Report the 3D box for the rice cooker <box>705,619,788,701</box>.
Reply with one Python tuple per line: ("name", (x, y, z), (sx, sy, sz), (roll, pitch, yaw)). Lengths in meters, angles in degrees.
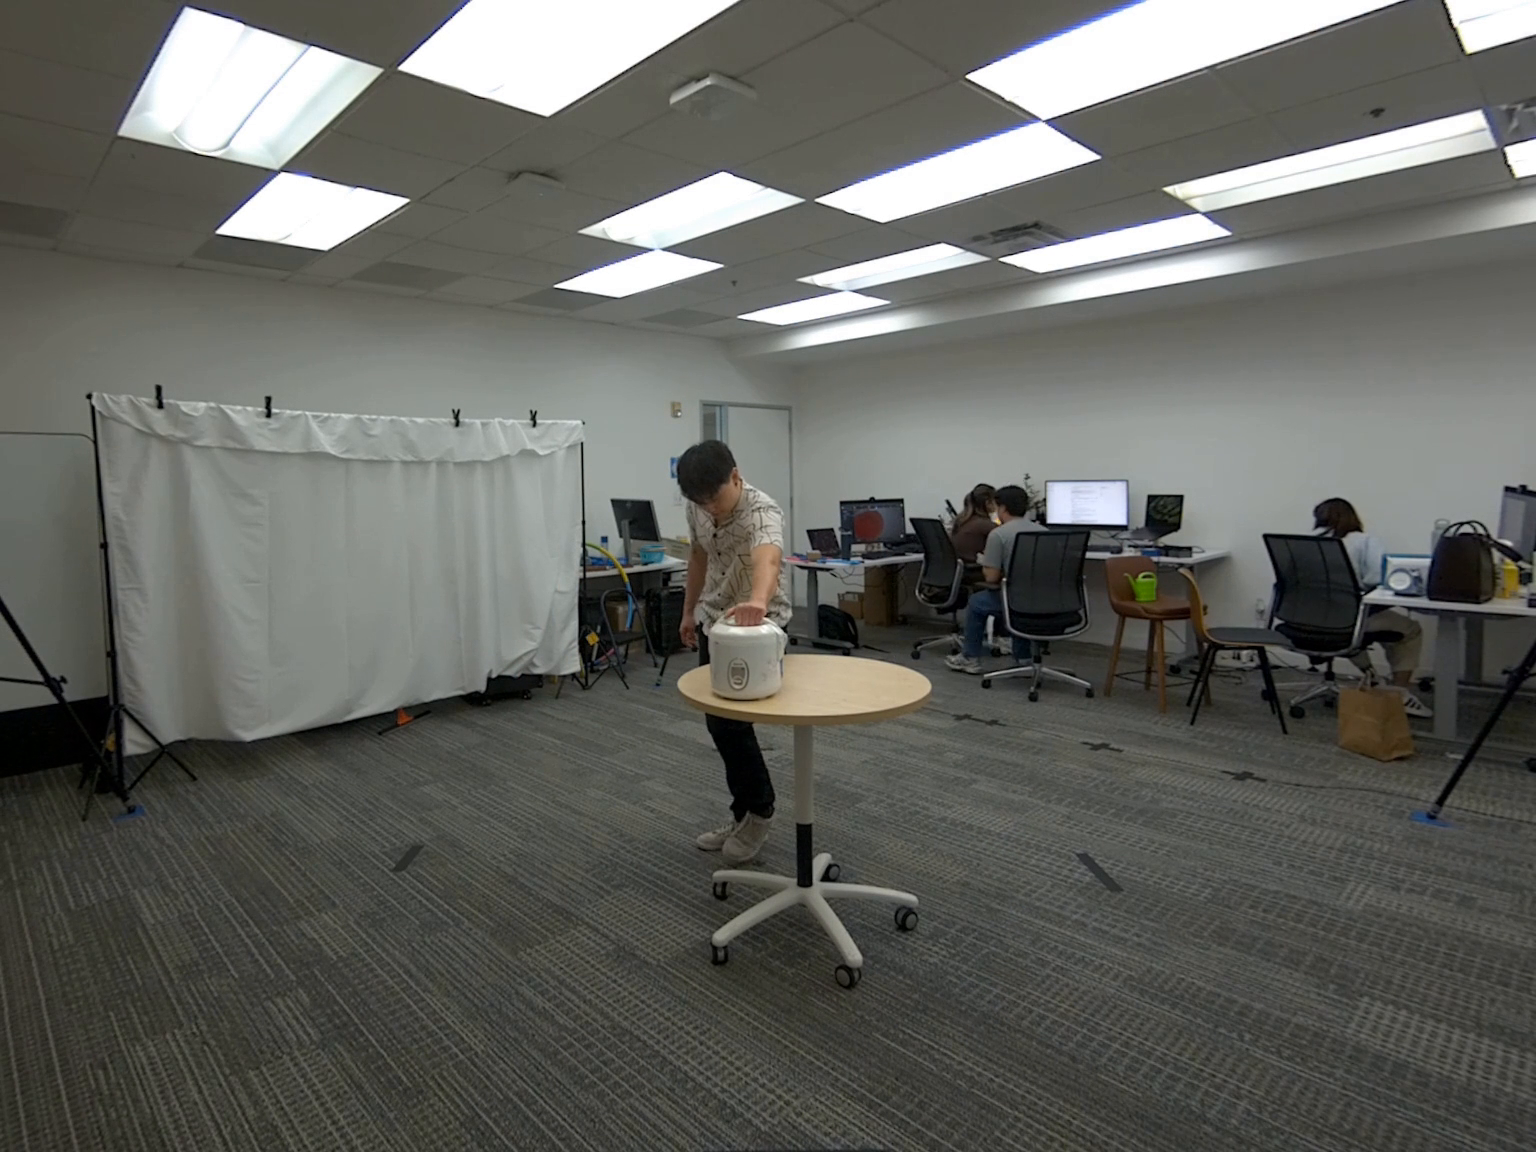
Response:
("rice cooker", (-0.057, 0.227, 2.457), (0.223, 0.232, 0.215), (-1, 4, 12))
